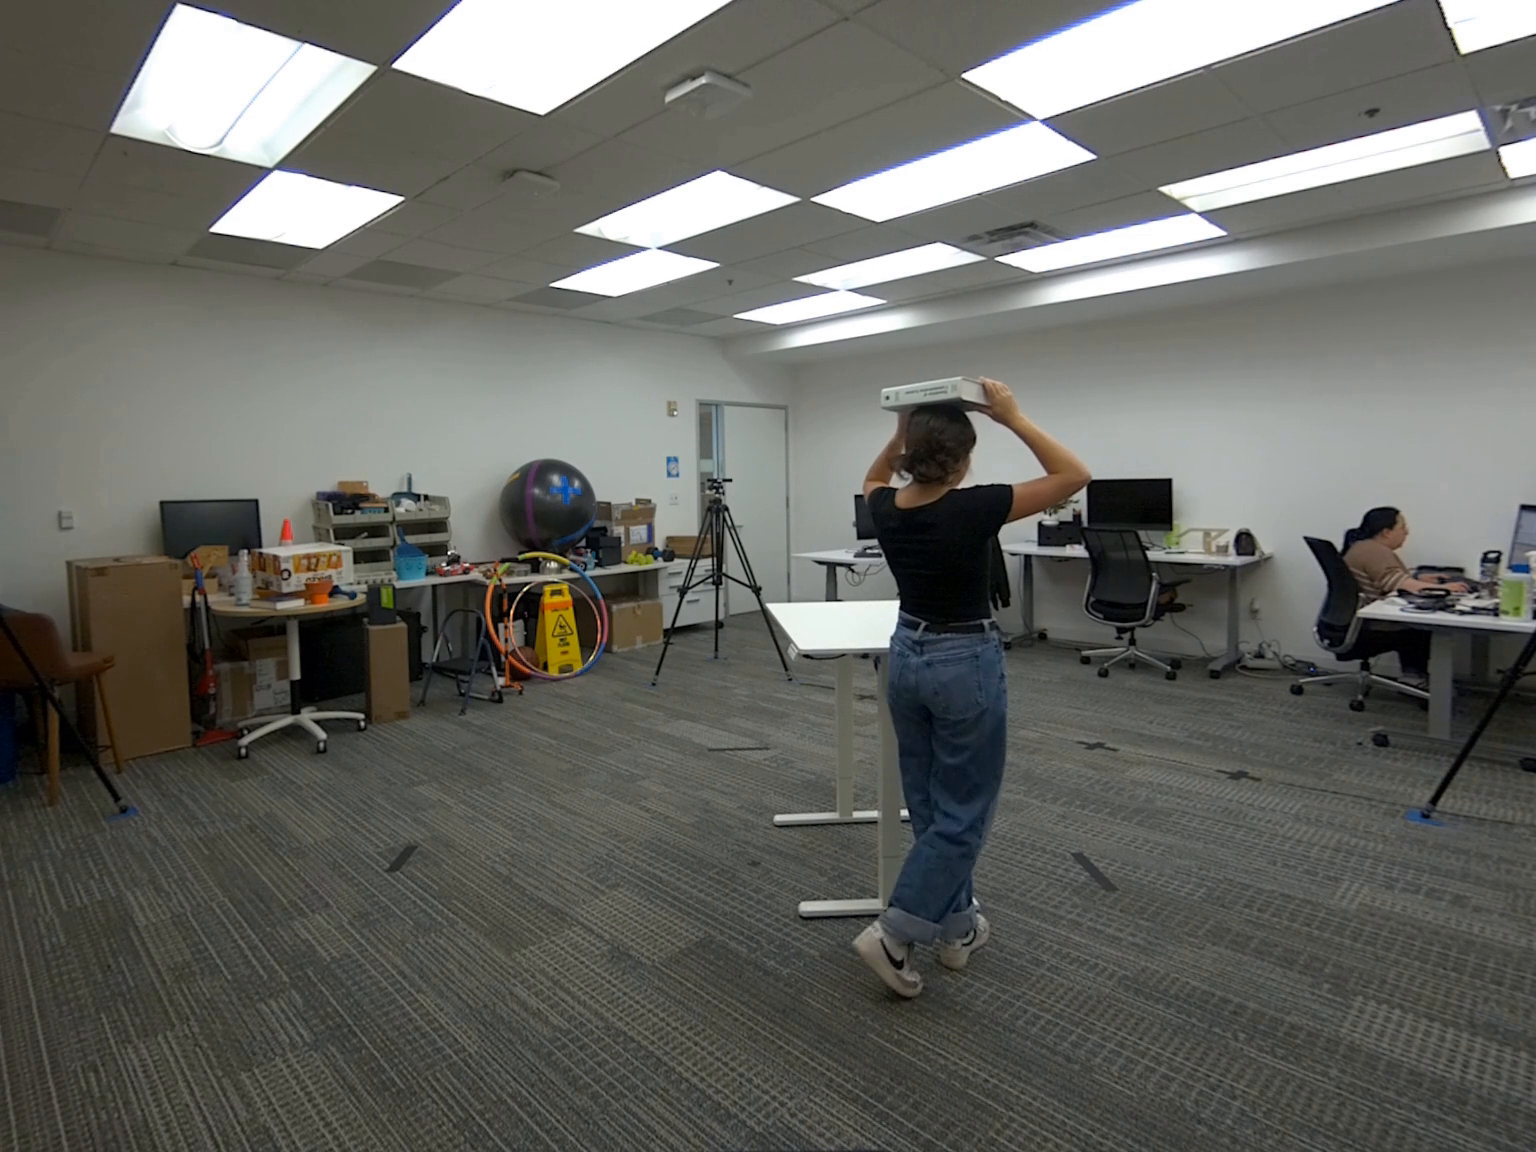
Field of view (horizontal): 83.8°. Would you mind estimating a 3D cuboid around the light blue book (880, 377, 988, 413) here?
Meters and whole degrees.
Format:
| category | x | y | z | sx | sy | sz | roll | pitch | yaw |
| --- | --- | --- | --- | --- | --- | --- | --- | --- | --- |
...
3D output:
| category | x | y | z | sx | sy | sz | roll | pitch | yaw |
| --- | --- | --- | --- | --- | --- | --- | --- | --- | --- |
| light blue book | 0.489 | -0.494 | 2.354 | 0.269 | 0.059 | 0.186 | 3 | 2 | 42 |
